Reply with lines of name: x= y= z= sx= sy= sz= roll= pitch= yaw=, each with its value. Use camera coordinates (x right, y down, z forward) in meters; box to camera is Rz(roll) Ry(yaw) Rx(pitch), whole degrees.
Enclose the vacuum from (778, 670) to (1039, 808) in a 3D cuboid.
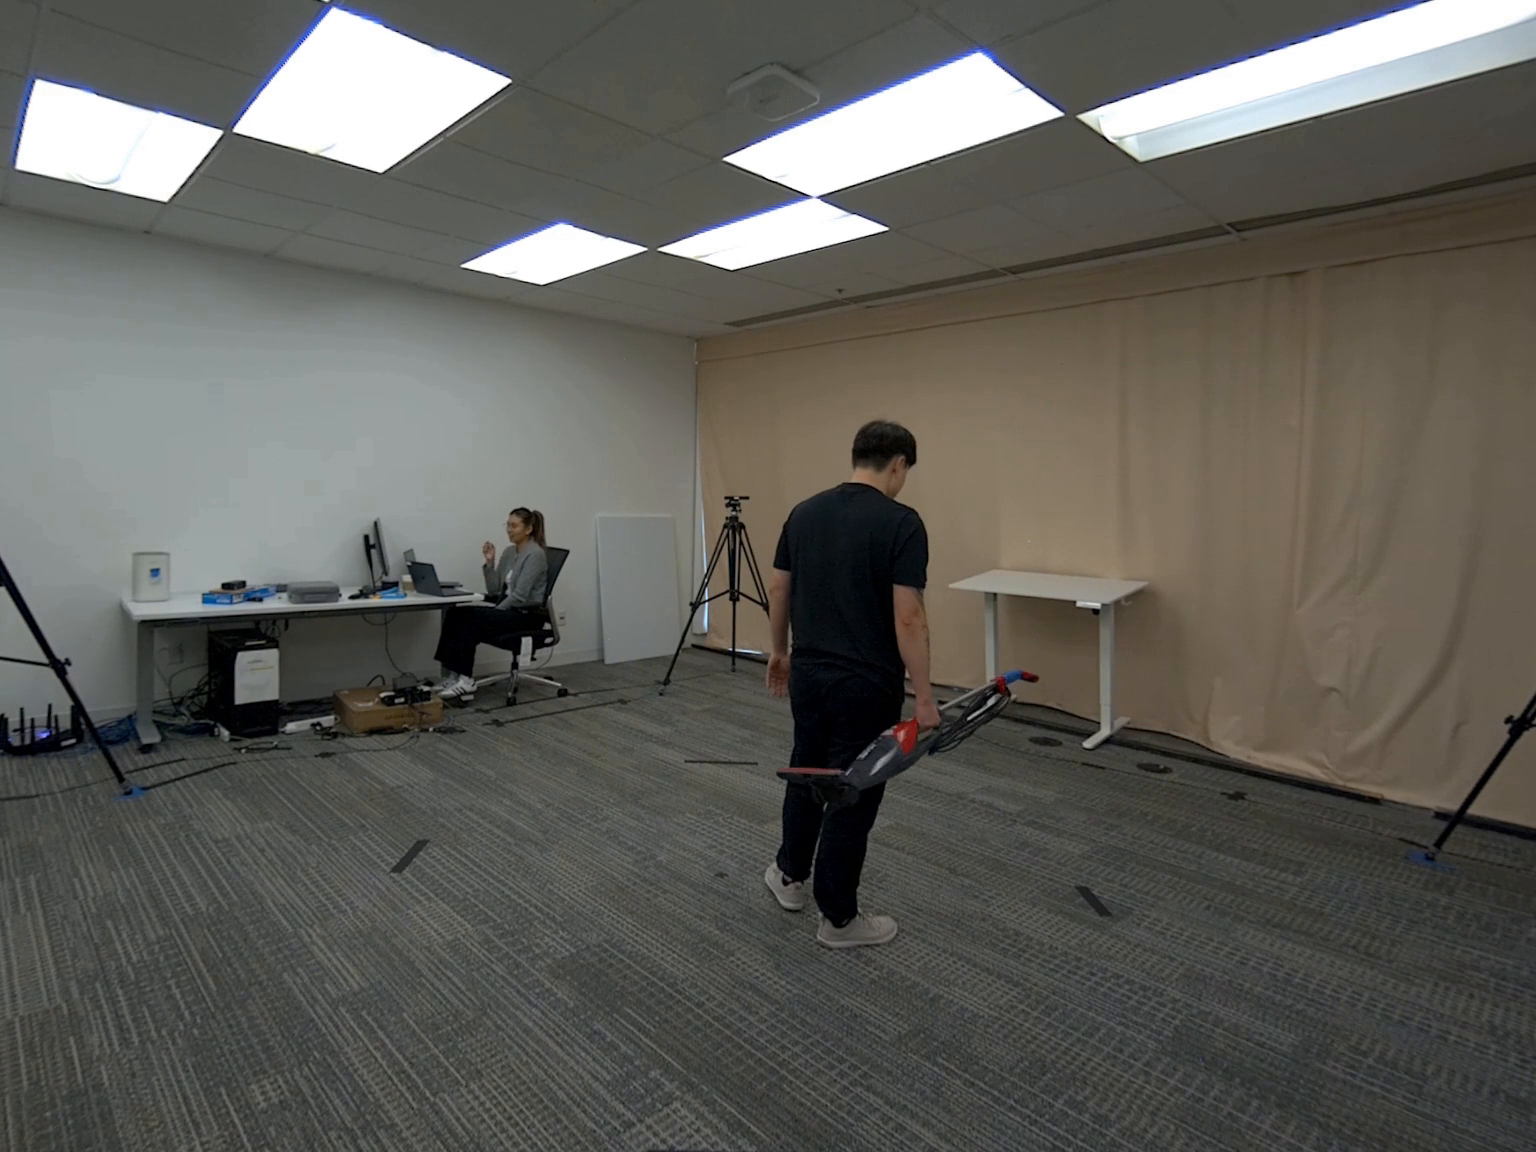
vacuum: x=0.526 y=0.455 z=2.548 sx=1.031 sy=0.144 sz=0.256 roll=-15 pitch=-3 yaw=-40
